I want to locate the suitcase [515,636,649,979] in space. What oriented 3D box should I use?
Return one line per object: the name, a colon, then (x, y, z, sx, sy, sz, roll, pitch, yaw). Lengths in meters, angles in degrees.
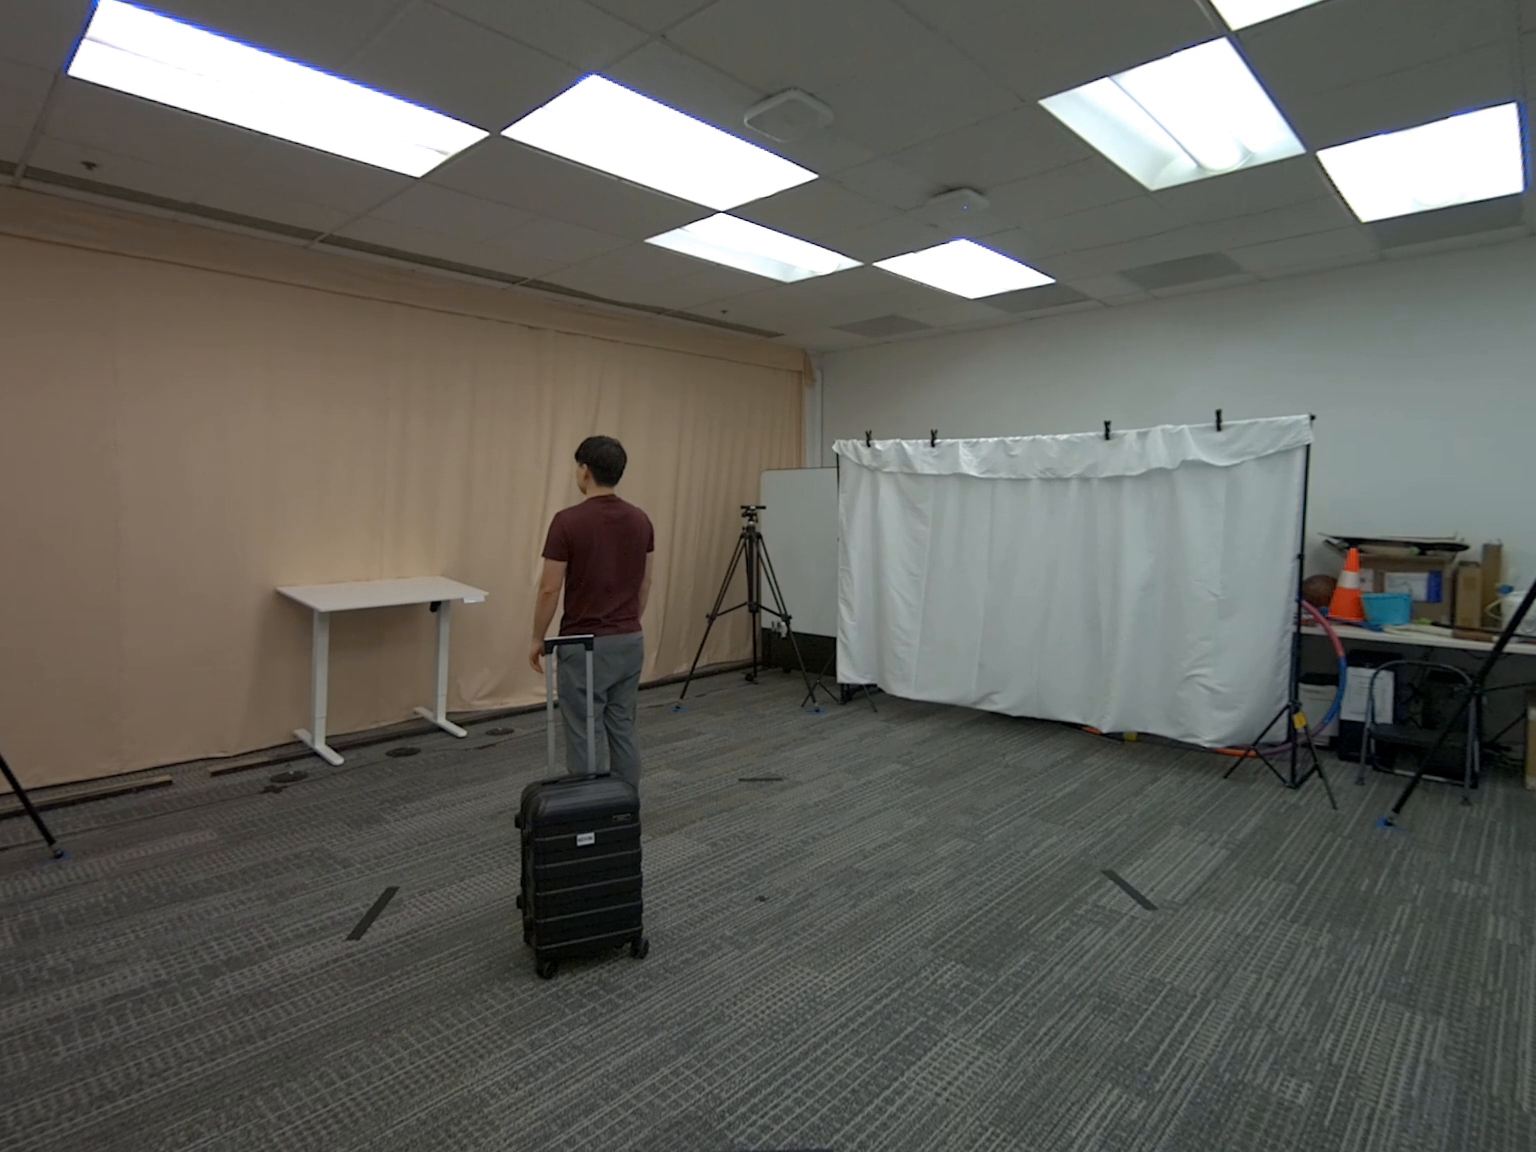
suitcase: (-0.578, 0.702, 2.601, 0.376, 0.975, 0.263, -2, 6, -21)
